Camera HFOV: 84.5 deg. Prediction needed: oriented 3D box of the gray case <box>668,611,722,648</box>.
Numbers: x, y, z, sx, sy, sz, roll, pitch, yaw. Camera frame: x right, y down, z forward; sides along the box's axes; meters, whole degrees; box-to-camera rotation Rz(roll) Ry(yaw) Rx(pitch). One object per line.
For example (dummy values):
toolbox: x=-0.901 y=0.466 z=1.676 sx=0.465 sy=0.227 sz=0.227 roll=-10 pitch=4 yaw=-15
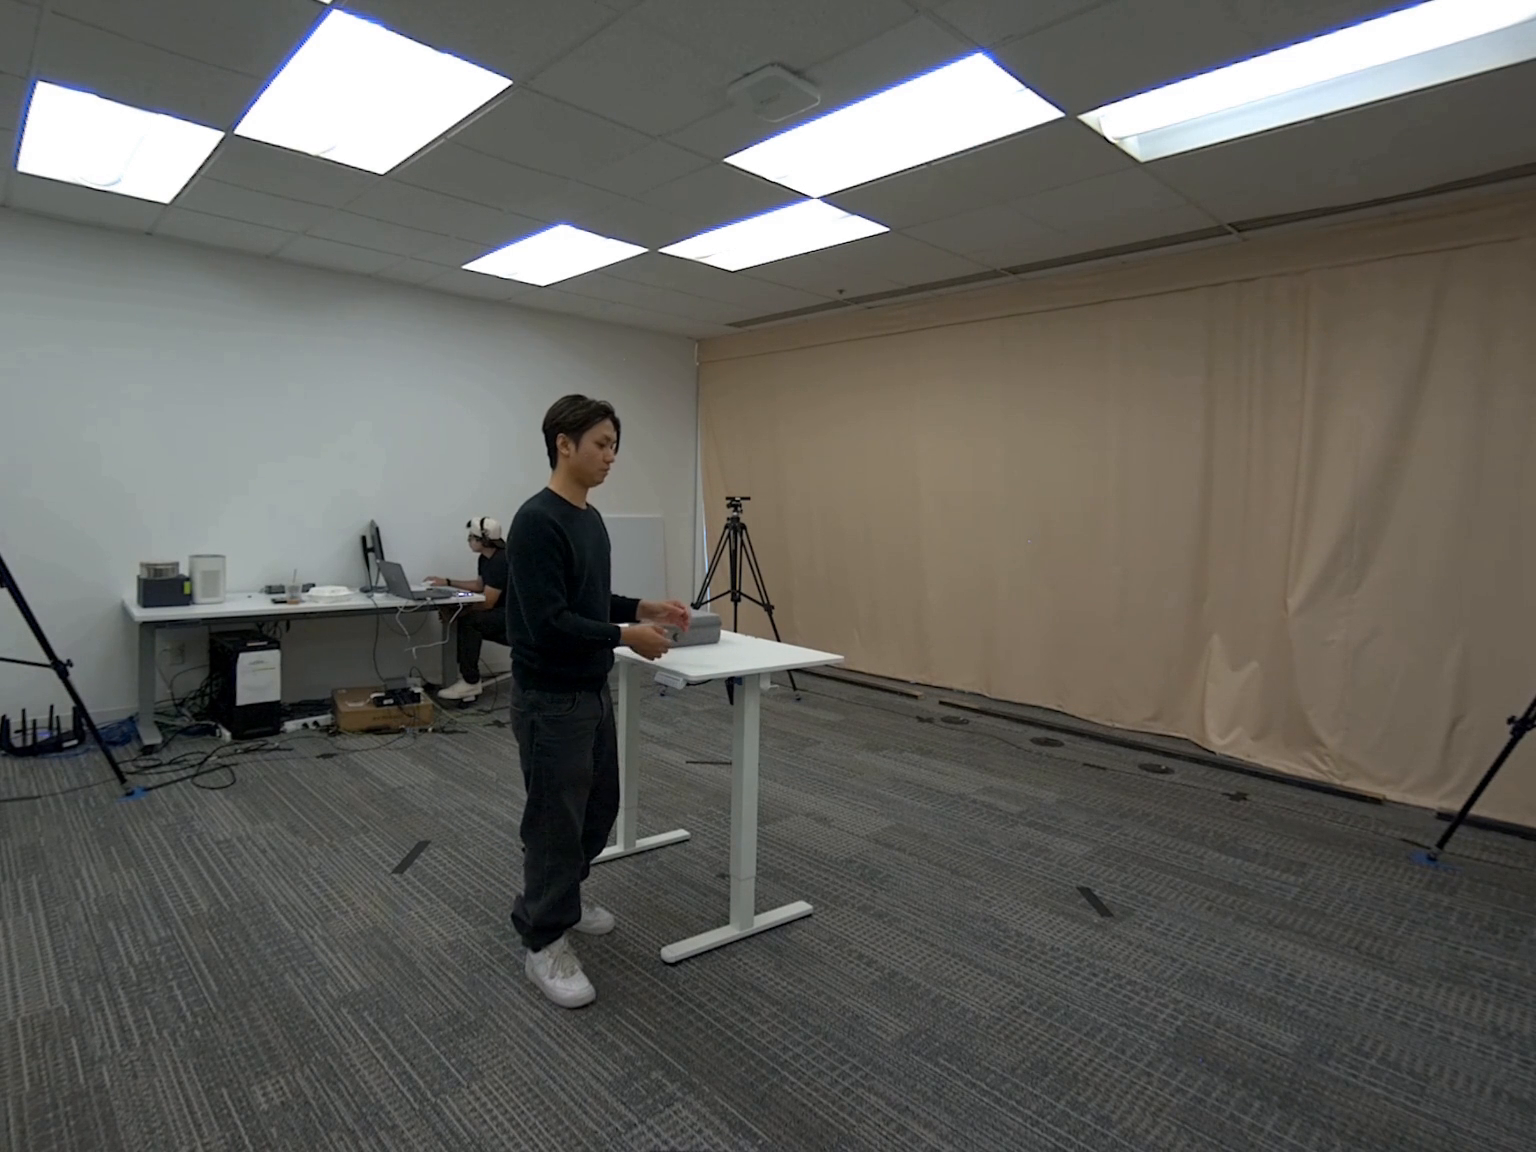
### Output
gray case: x=-0.333 y=0.181 z=2.969 sx=0.255 sy=0.104 sz=0.263 roll=-3 pitch=7 yaw=-38
